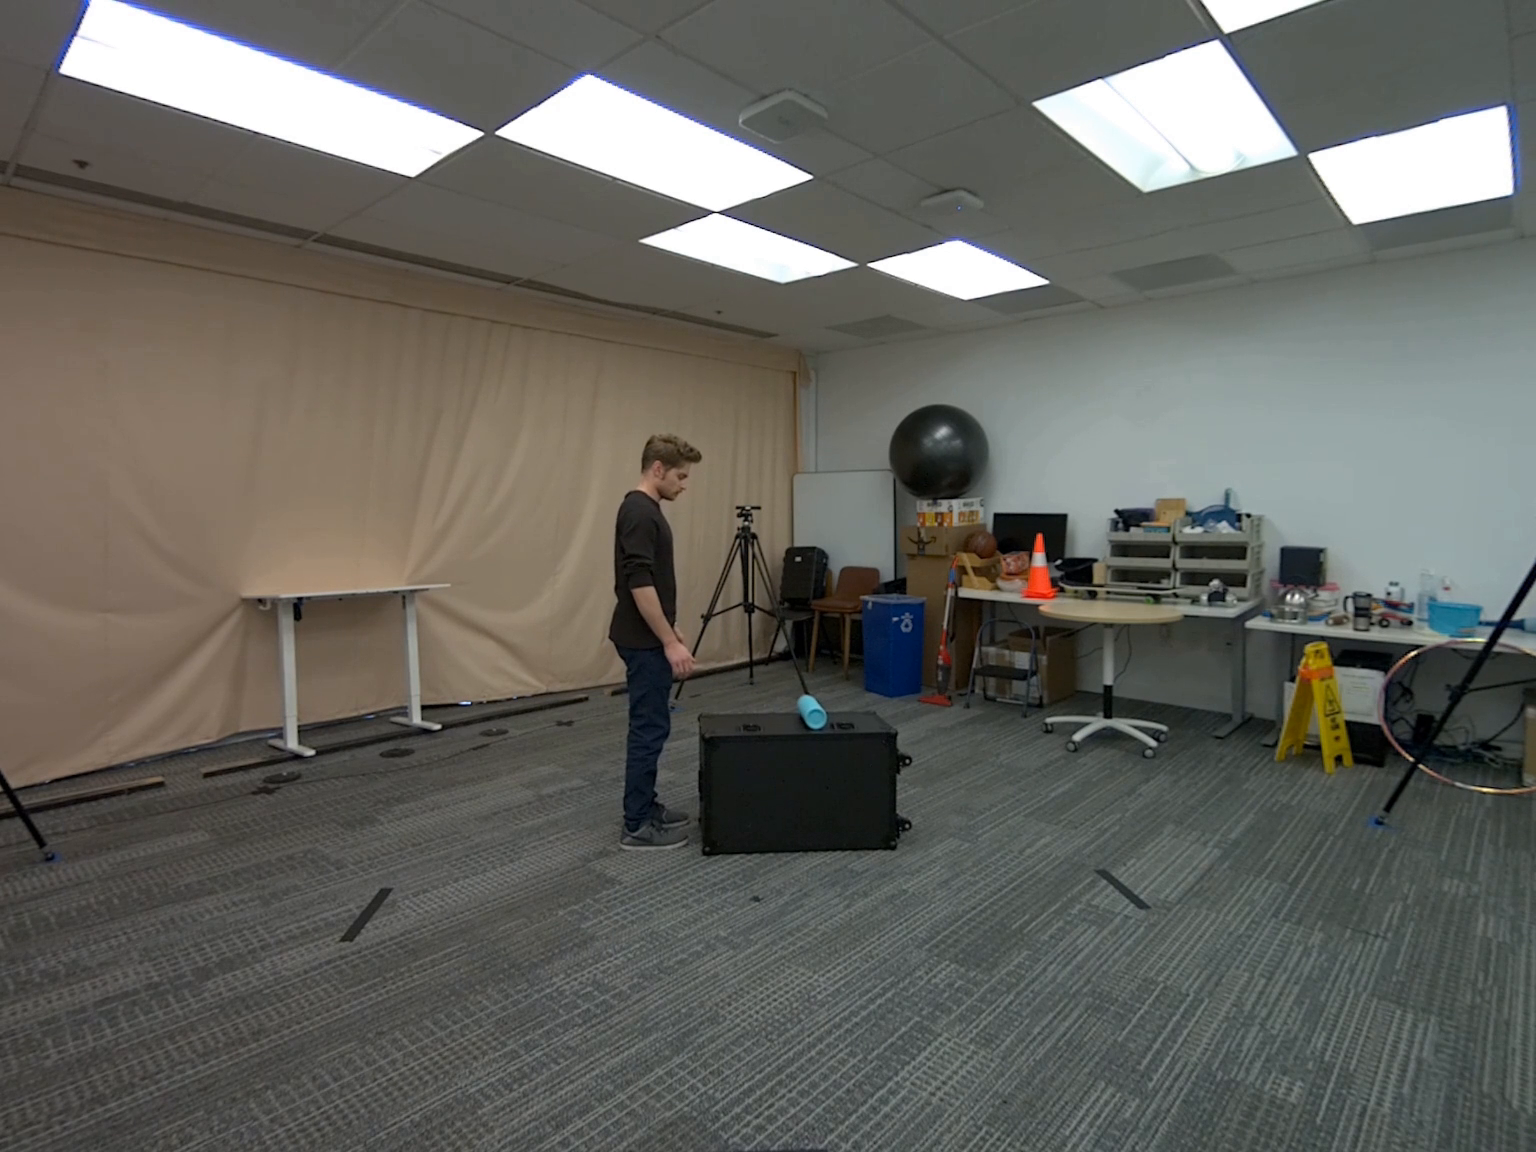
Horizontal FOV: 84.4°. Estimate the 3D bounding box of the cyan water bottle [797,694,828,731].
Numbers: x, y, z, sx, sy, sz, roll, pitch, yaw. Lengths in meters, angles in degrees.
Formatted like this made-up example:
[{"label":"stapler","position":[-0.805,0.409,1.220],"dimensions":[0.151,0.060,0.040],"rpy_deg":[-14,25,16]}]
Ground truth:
[{"label":"cyan water bottle","position":[0.178,0.568,3.558],"dimensions":[0.092,0.092,0.285],"rpy_deg":[0,4,-6]}]
